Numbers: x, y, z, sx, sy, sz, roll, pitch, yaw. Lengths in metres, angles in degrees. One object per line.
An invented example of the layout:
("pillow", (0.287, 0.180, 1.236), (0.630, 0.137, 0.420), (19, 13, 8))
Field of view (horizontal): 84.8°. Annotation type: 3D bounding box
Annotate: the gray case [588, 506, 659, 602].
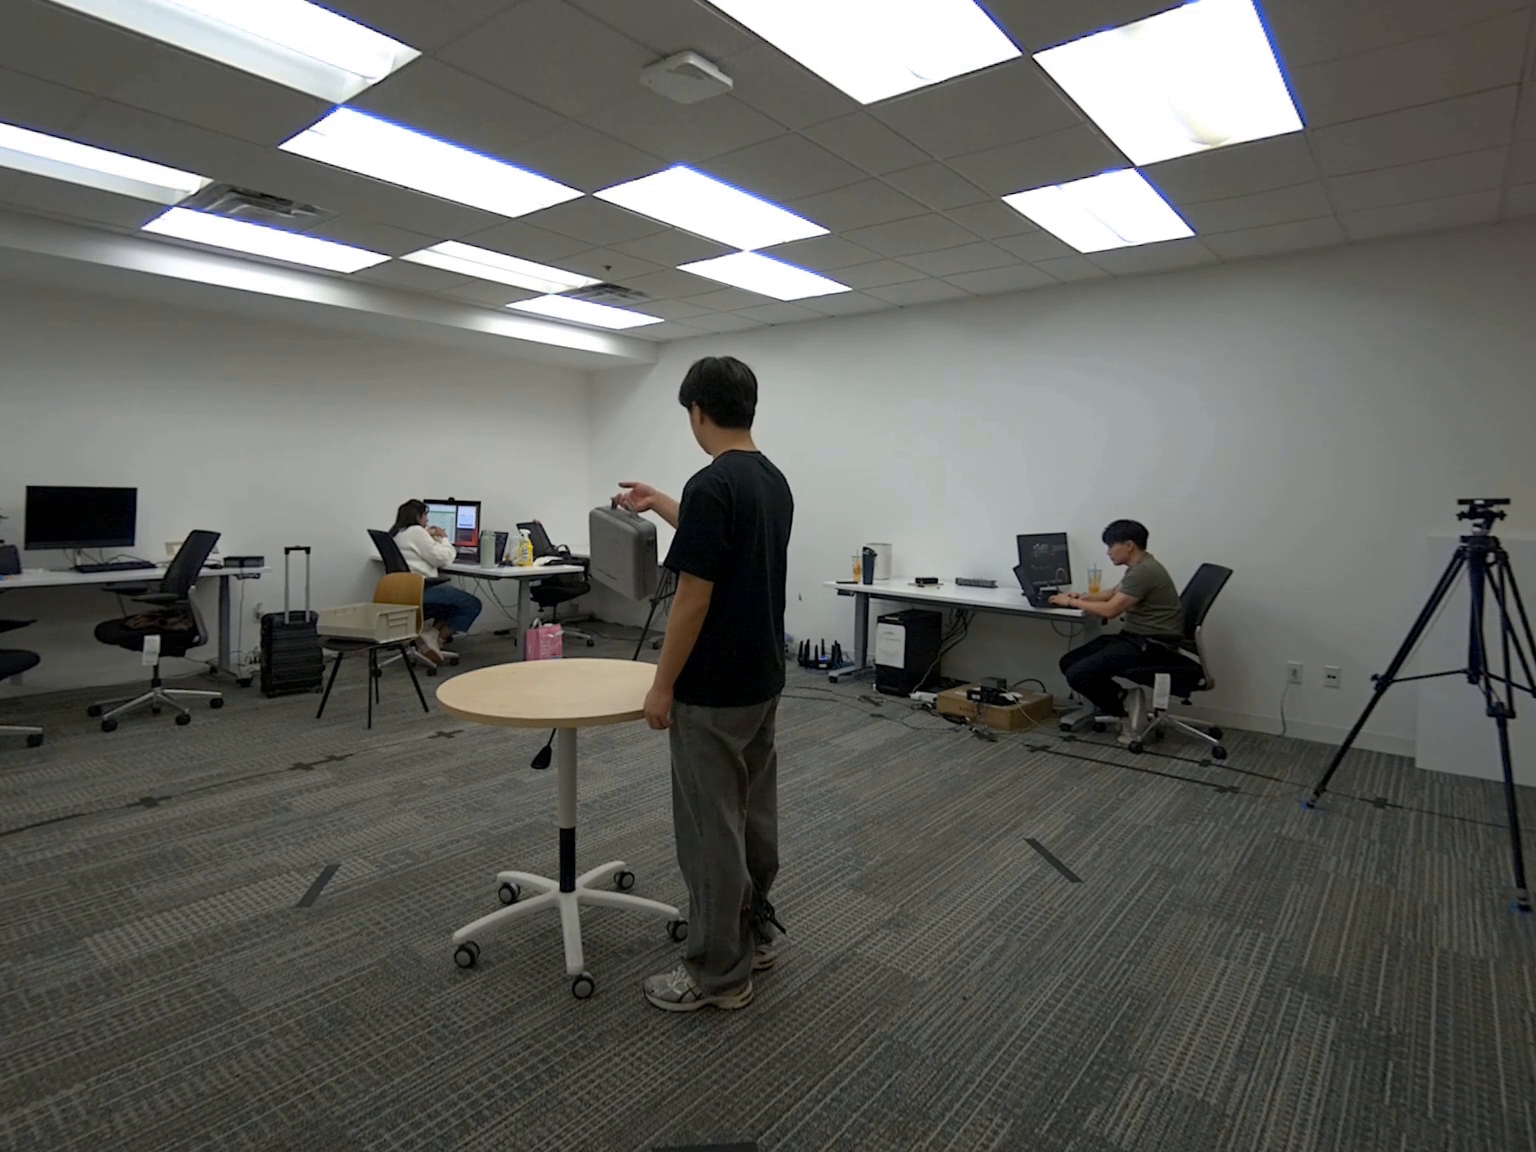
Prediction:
("gray case", (-0.476, -0.086, 2.710), (0.101, 0.281, 0.274), (-18, 31, -39))
